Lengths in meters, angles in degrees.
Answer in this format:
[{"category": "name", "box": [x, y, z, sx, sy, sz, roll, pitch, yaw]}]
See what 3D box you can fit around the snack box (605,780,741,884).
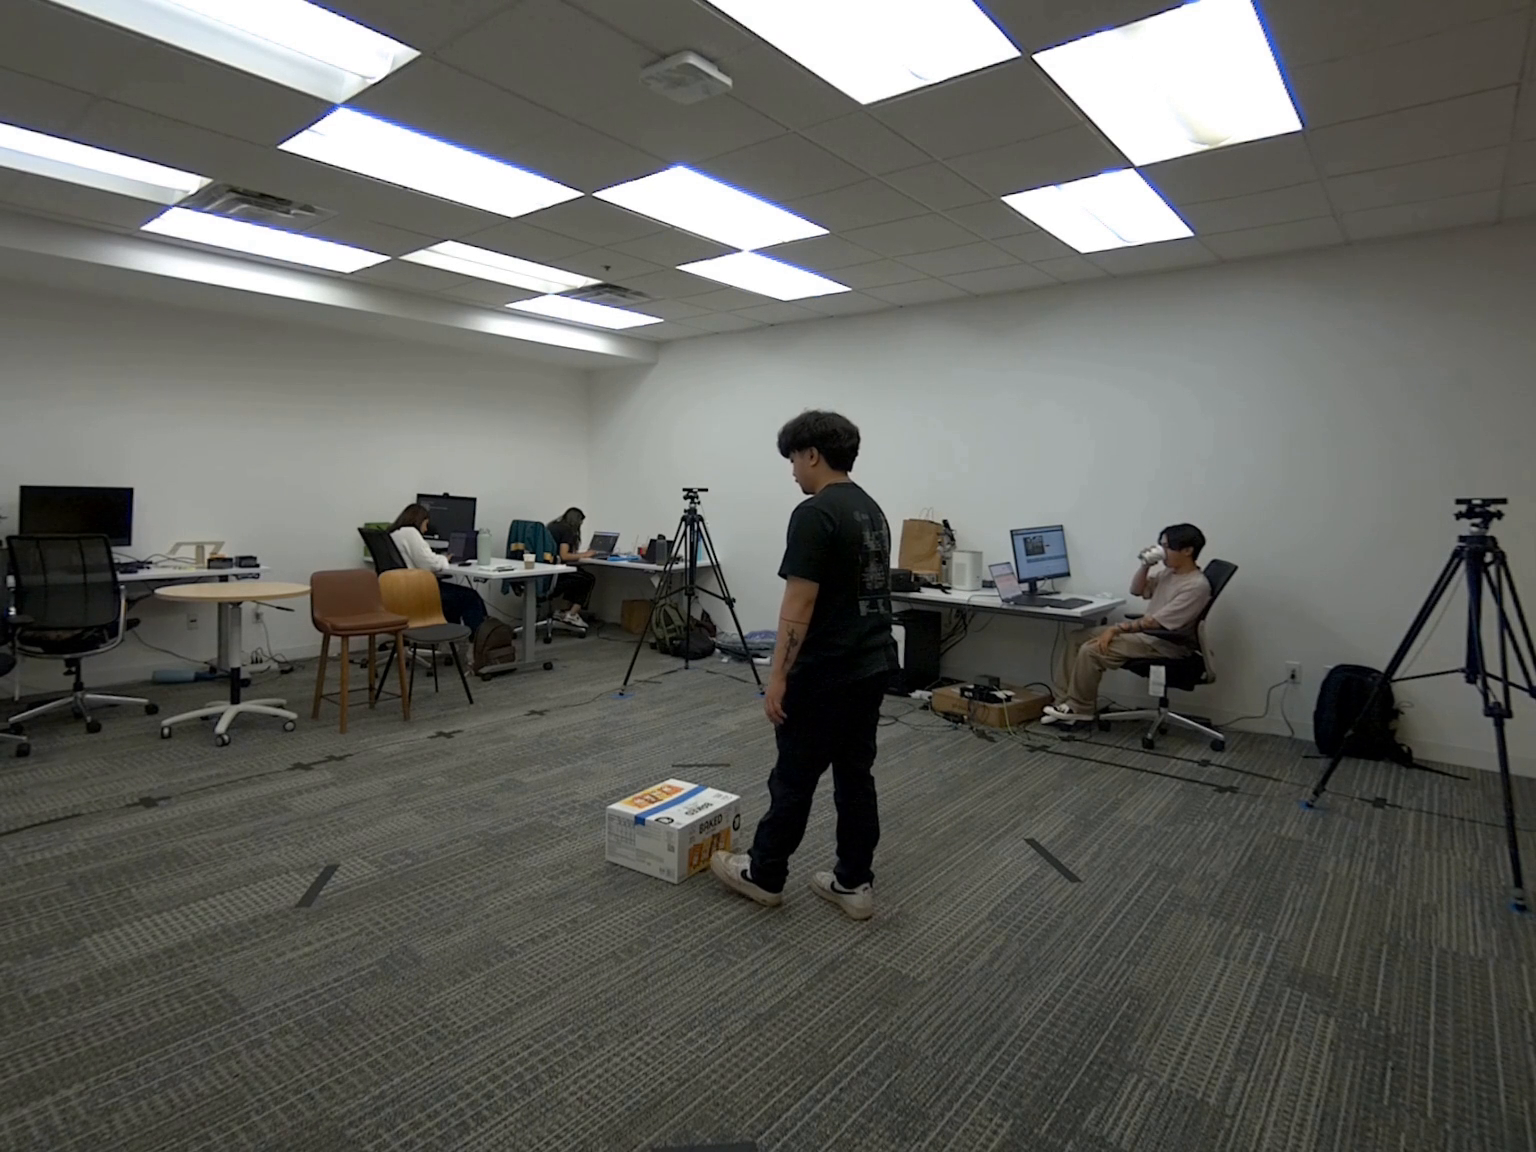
[{"category": "snack box", "box": [-0.365, 0.953, 3.225, 0.351, 0.205, 0.394, 4, 5, 32]}]
